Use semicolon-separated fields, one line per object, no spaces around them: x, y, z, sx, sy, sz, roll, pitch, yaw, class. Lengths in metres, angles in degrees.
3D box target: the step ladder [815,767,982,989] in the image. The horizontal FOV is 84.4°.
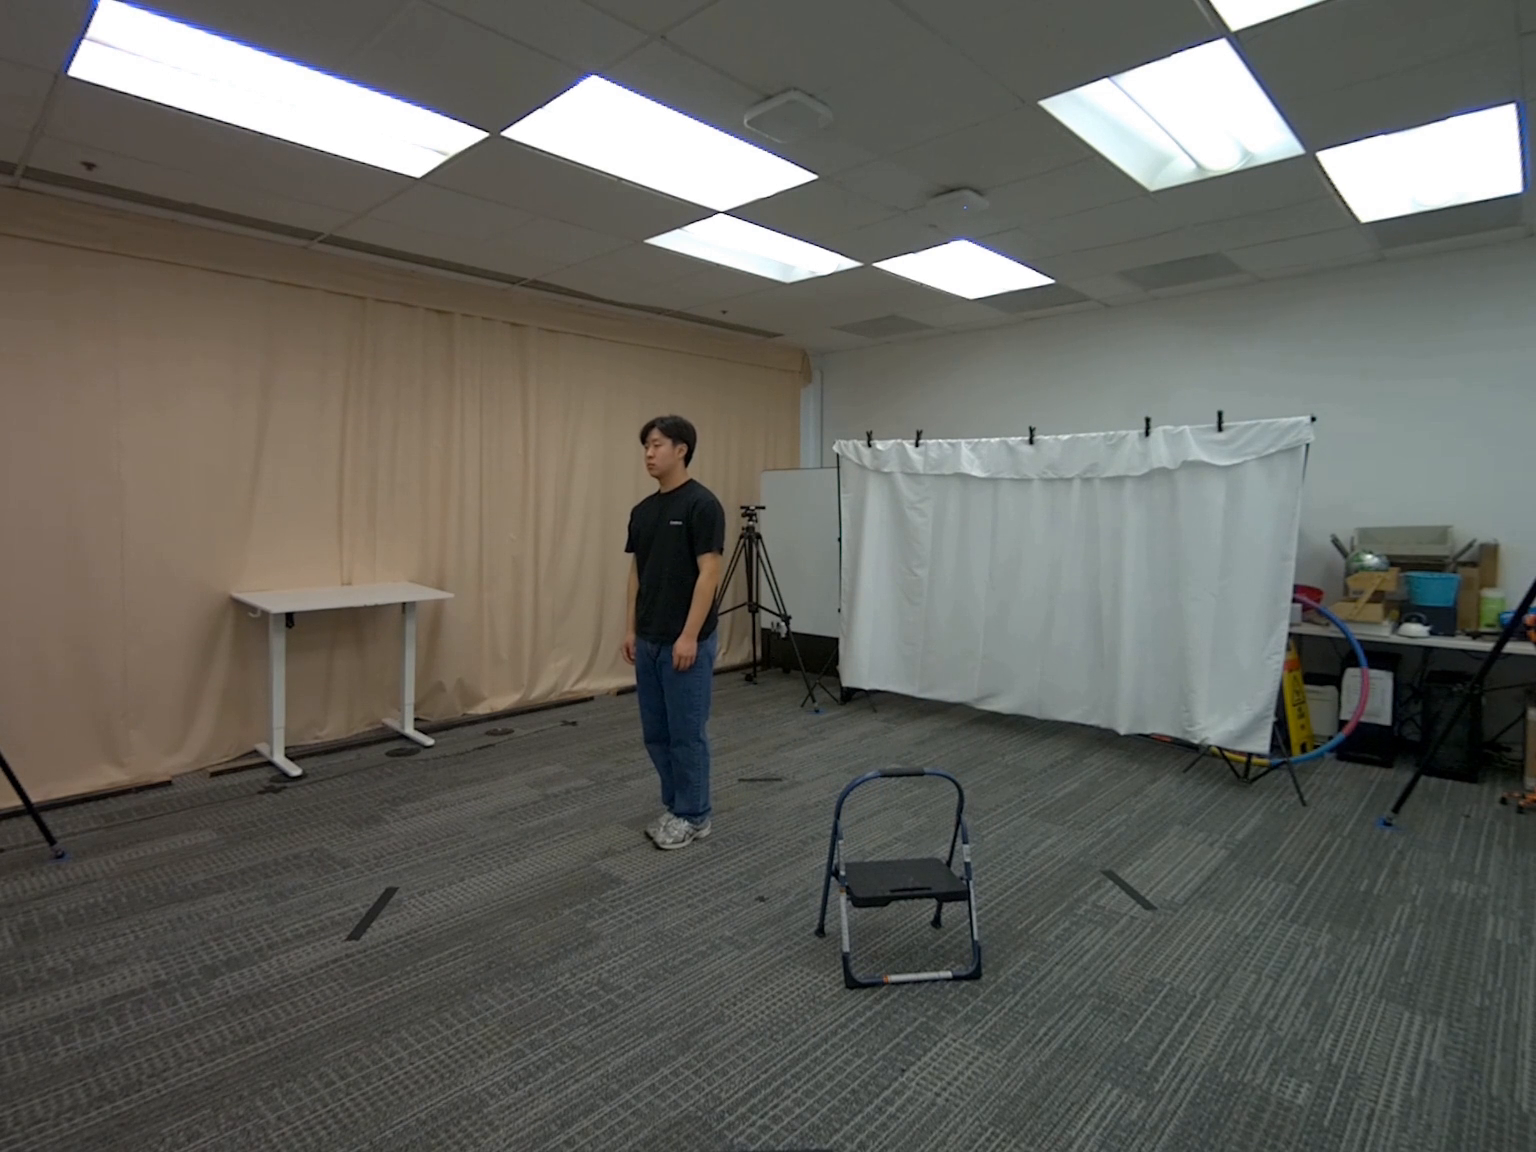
0.393;0.871;2.608;0.426;0.605;0.353;-1;3;-10;step ladder
